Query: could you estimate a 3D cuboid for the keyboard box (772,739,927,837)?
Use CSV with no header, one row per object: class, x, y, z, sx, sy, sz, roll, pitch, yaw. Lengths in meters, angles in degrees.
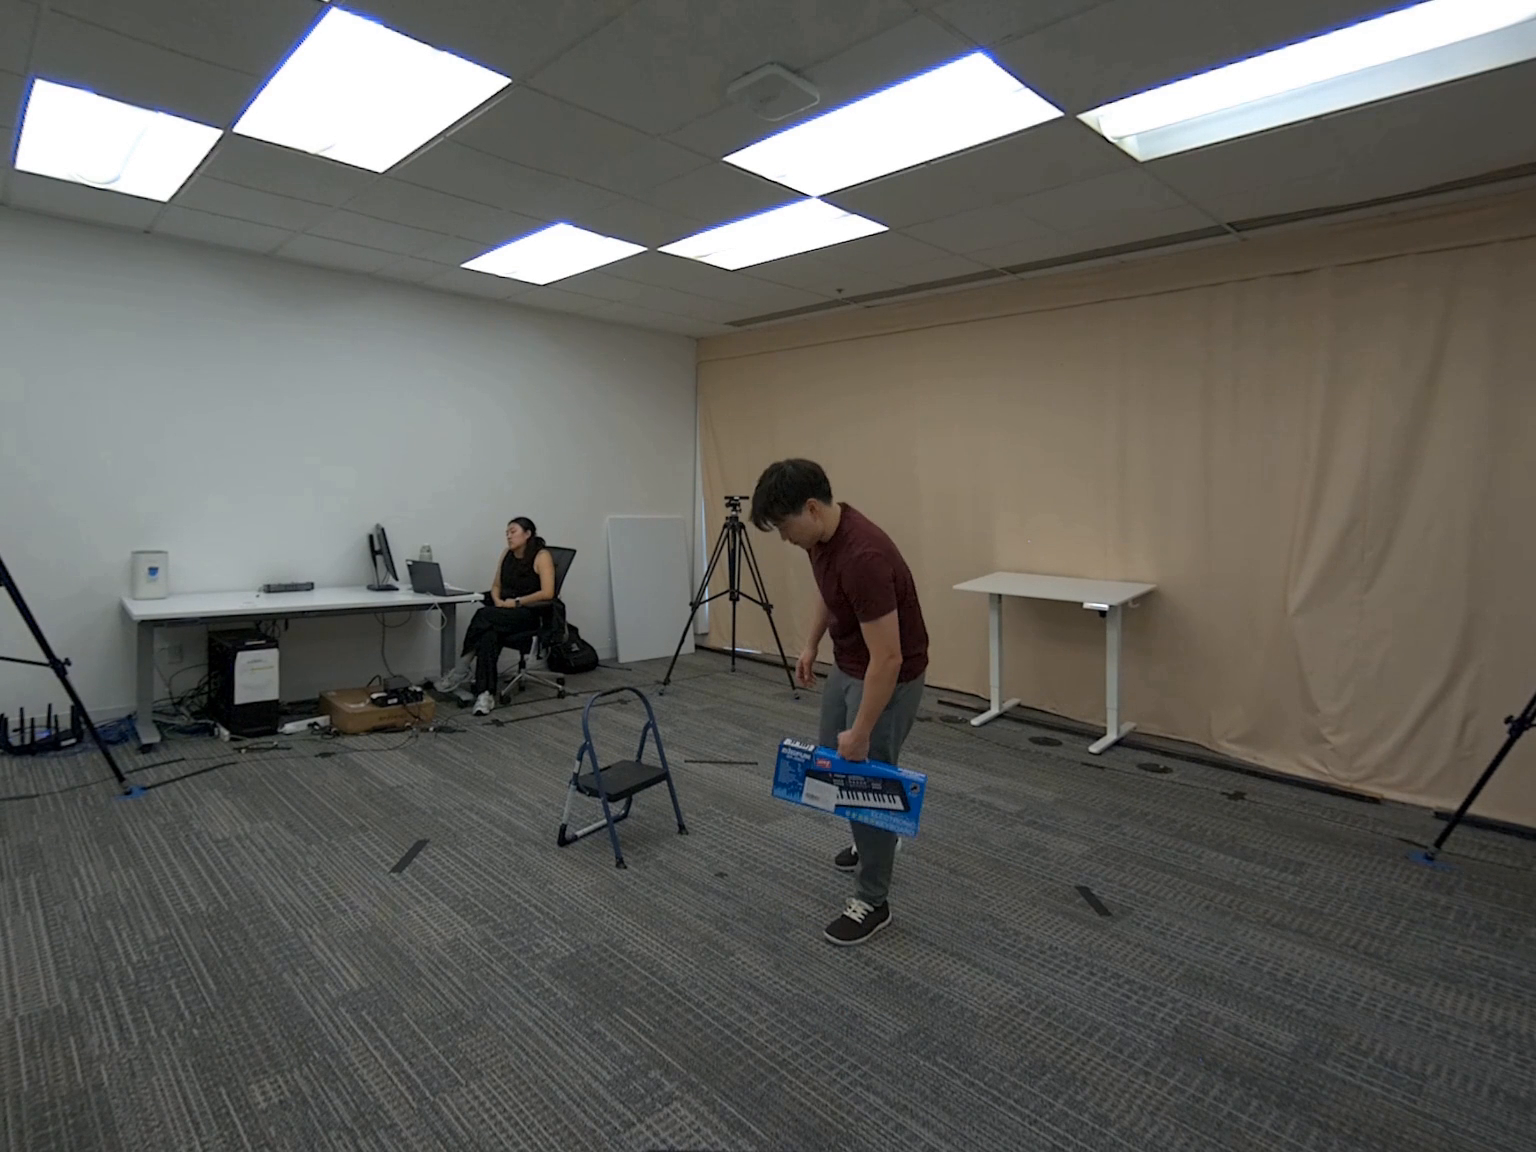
keyboard box,0.233,0.634,2.488,0.443,0.175,0.058,10,10,16
